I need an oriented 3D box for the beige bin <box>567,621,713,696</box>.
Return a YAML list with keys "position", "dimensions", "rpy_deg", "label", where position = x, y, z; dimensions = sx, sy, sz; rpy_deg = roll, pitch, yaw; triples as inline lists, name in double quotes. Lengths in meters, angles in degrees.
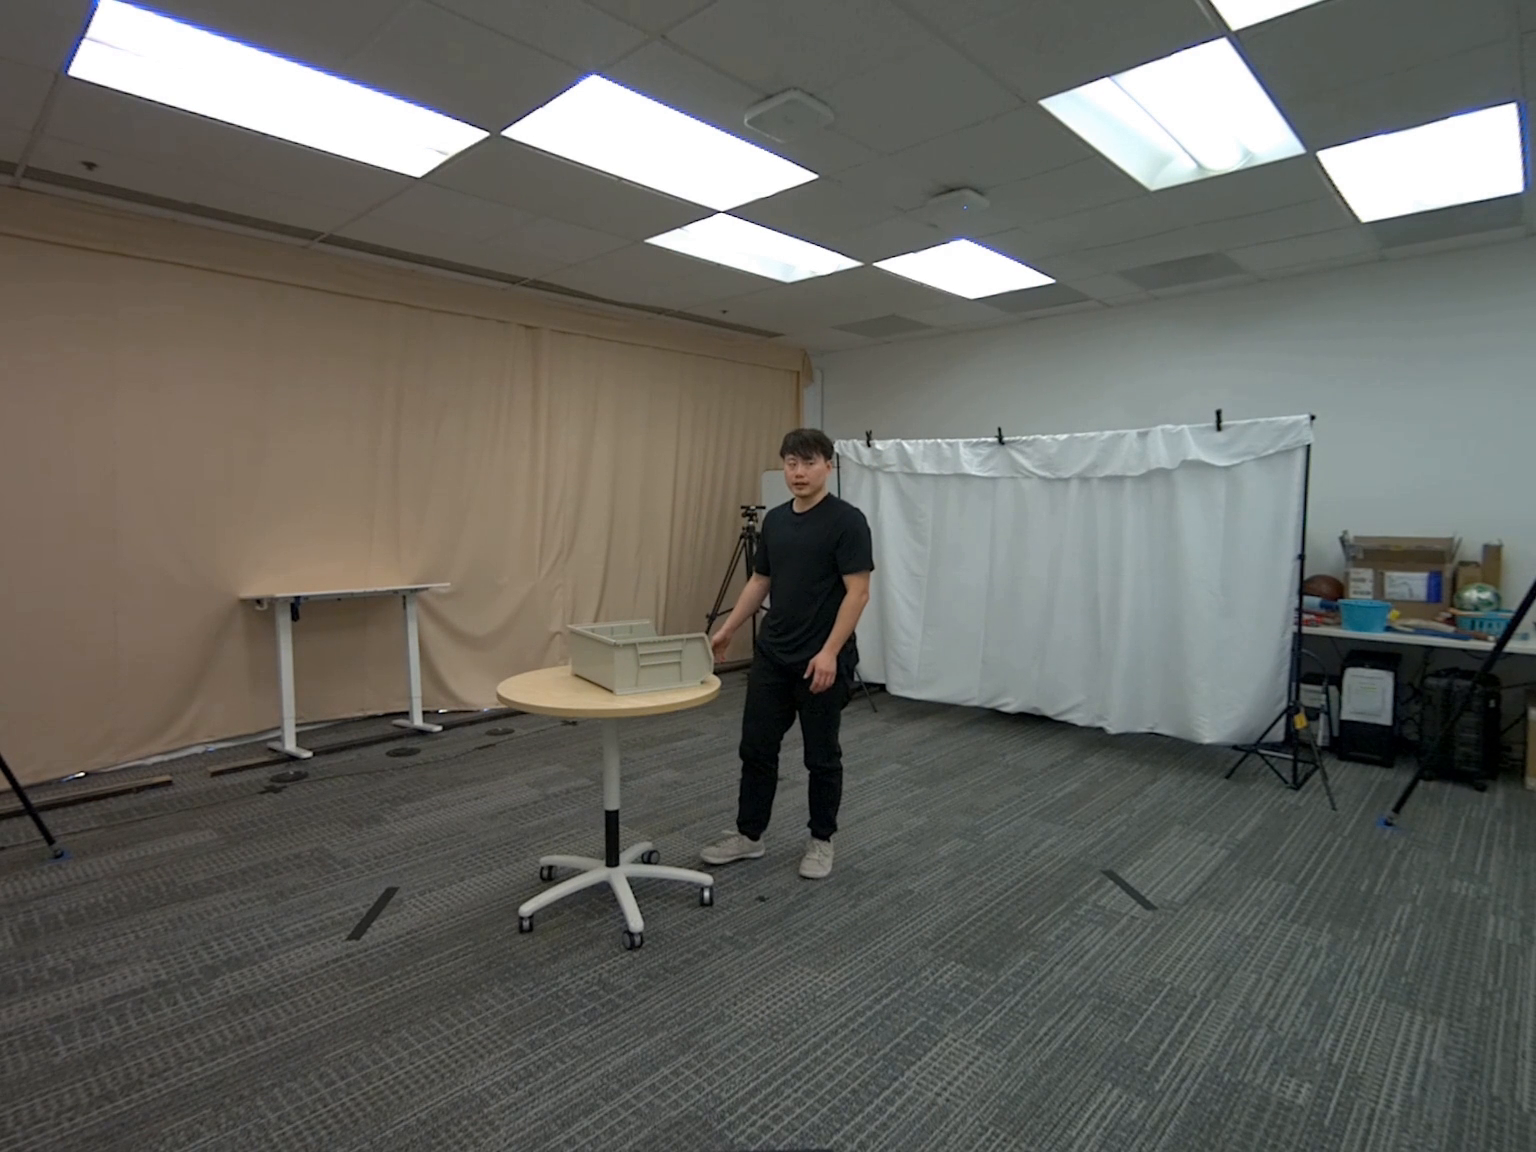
- position: [-0.455, 0.277, 2.977]
  dimensions: [0.367, 0.188, 0.435]
  rpy_deg: [-5, 7, -32]
  label: "beige bin"
